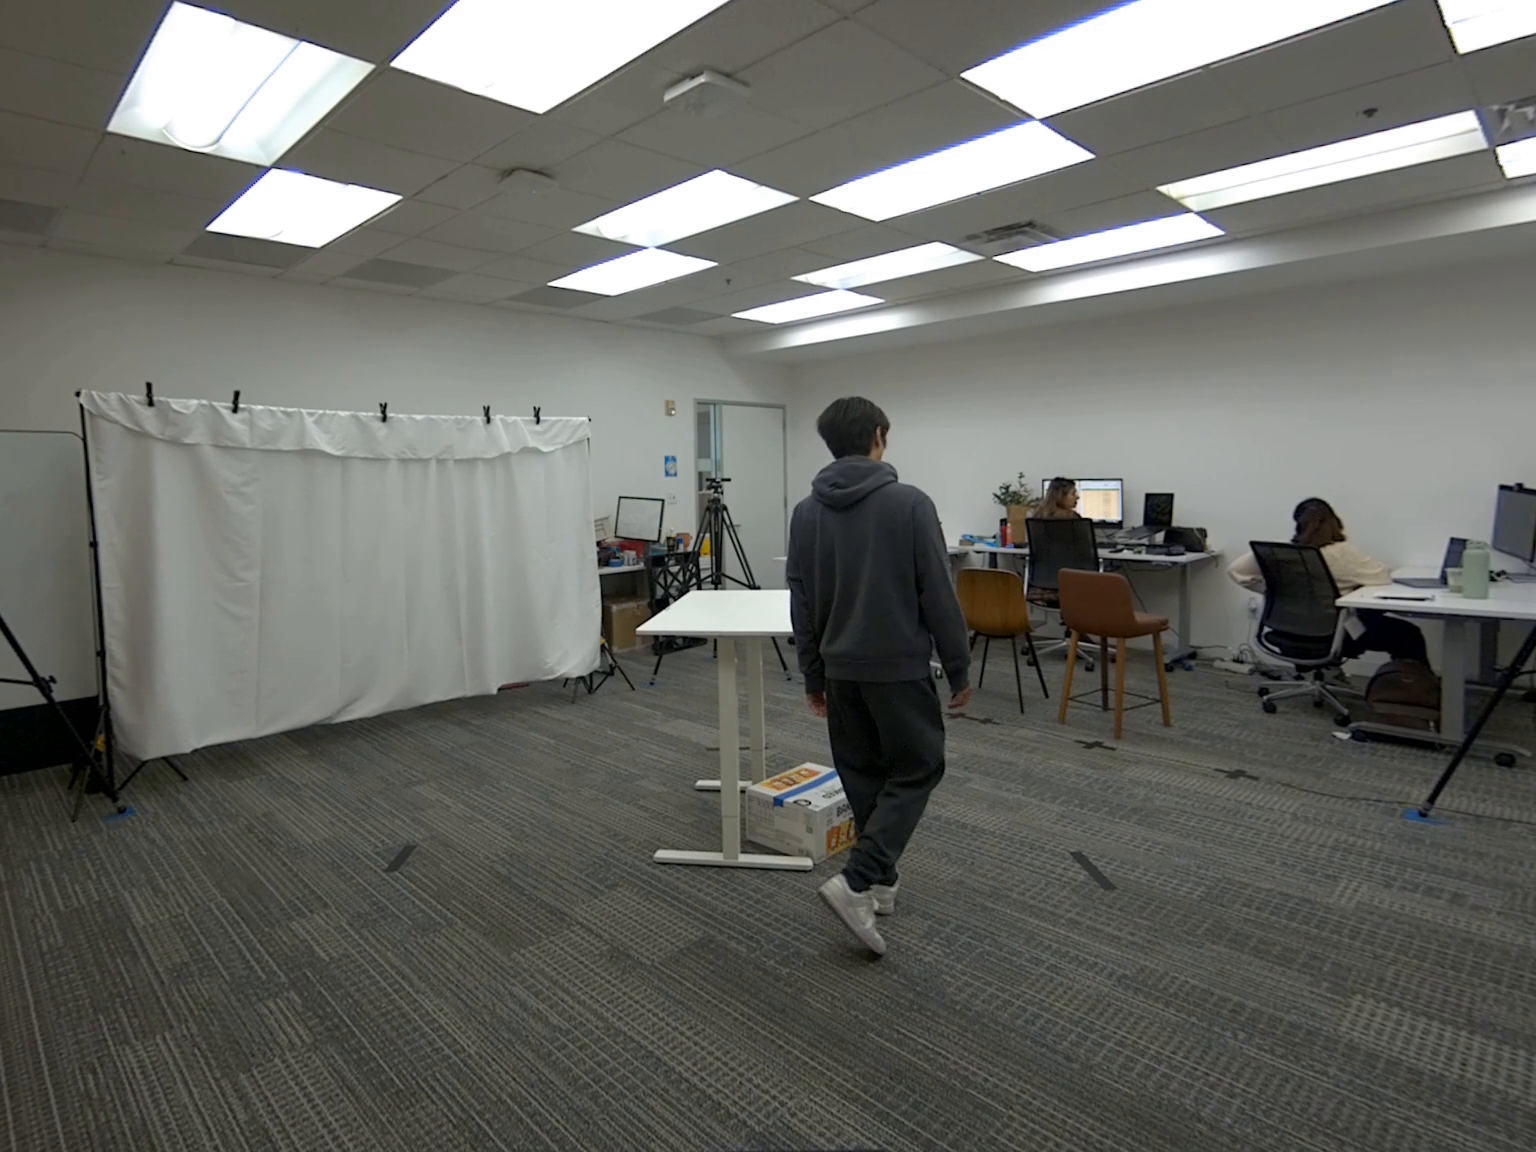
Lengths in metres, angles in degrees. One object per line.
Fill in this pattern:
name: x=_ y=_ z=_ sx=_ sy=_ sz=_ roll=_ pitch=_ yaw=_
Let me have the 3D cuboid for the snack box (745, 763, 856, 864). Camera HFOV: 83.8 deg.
snack box: x=0.176 y=0.912 z=3.326 sx=0.351 sy=0.205 sz=0.395 roll=4 pitch=8 yaw=41
